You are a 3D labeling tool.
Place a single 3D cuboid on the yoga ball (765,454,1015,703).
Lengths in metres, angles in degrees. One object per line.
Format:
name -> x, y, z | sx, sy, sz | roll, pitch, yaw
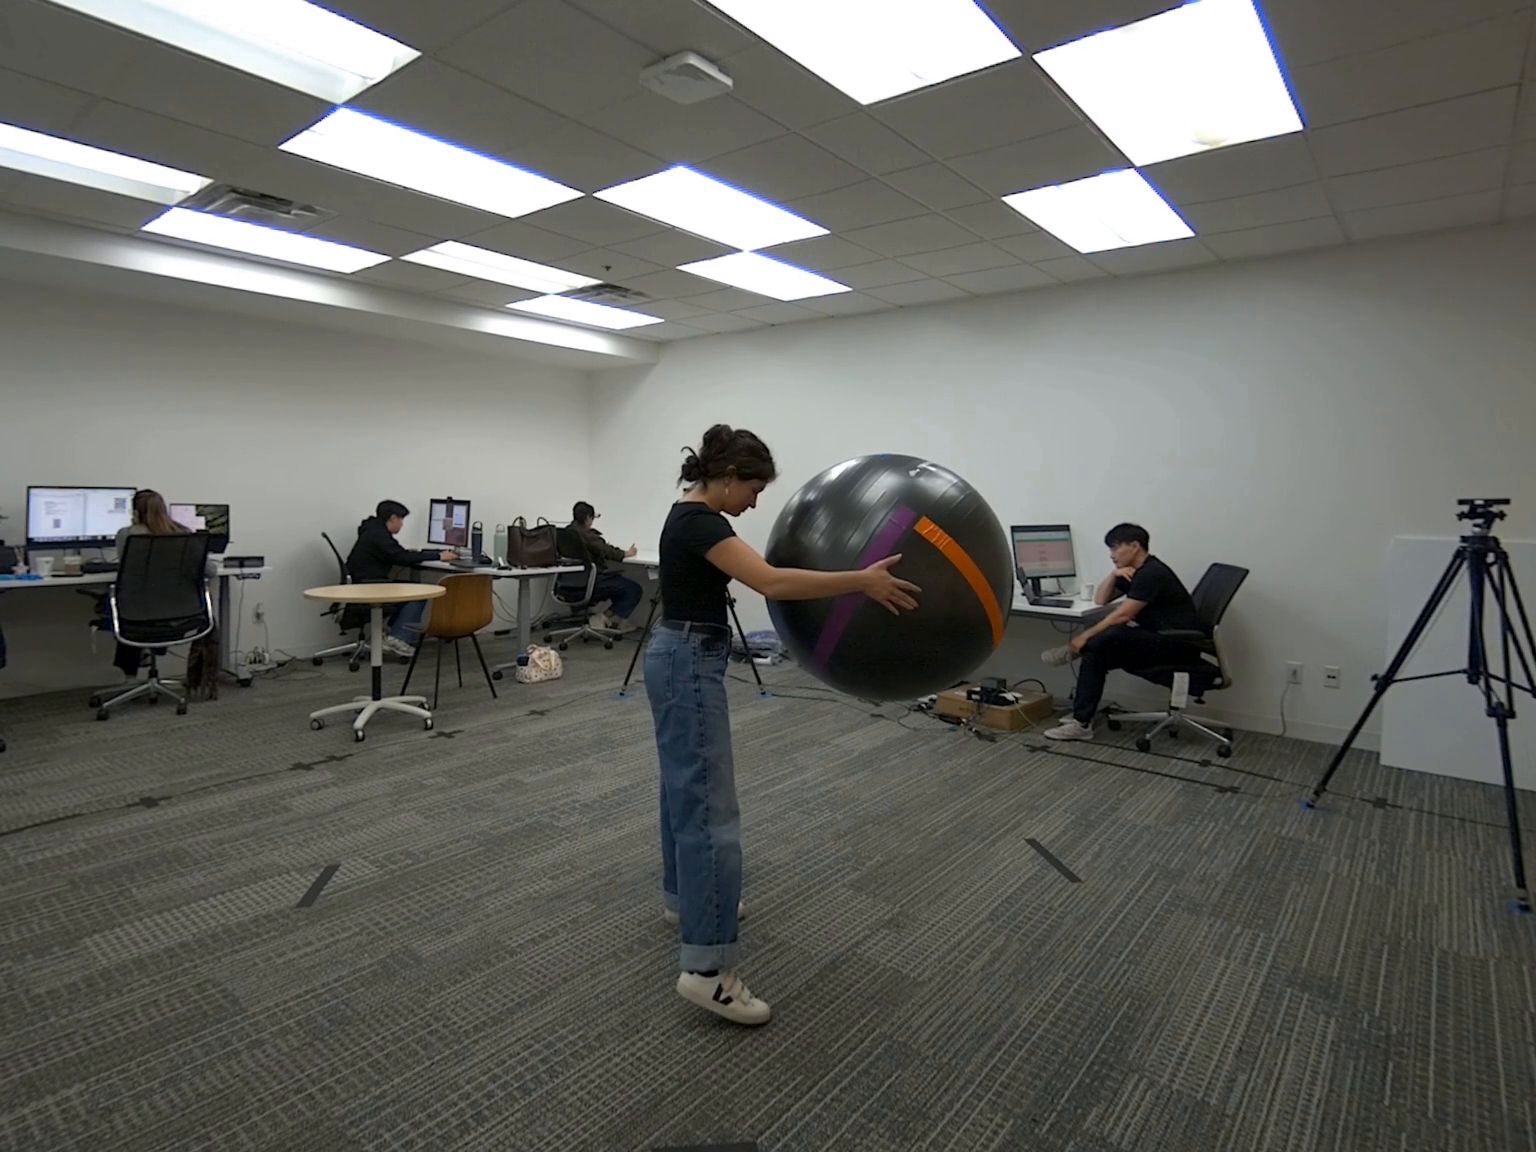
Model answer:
yoga ball -> 0.361, 0.006, 2.624 | 0.757, 0.756, 0.762 | 1, 4, -2
